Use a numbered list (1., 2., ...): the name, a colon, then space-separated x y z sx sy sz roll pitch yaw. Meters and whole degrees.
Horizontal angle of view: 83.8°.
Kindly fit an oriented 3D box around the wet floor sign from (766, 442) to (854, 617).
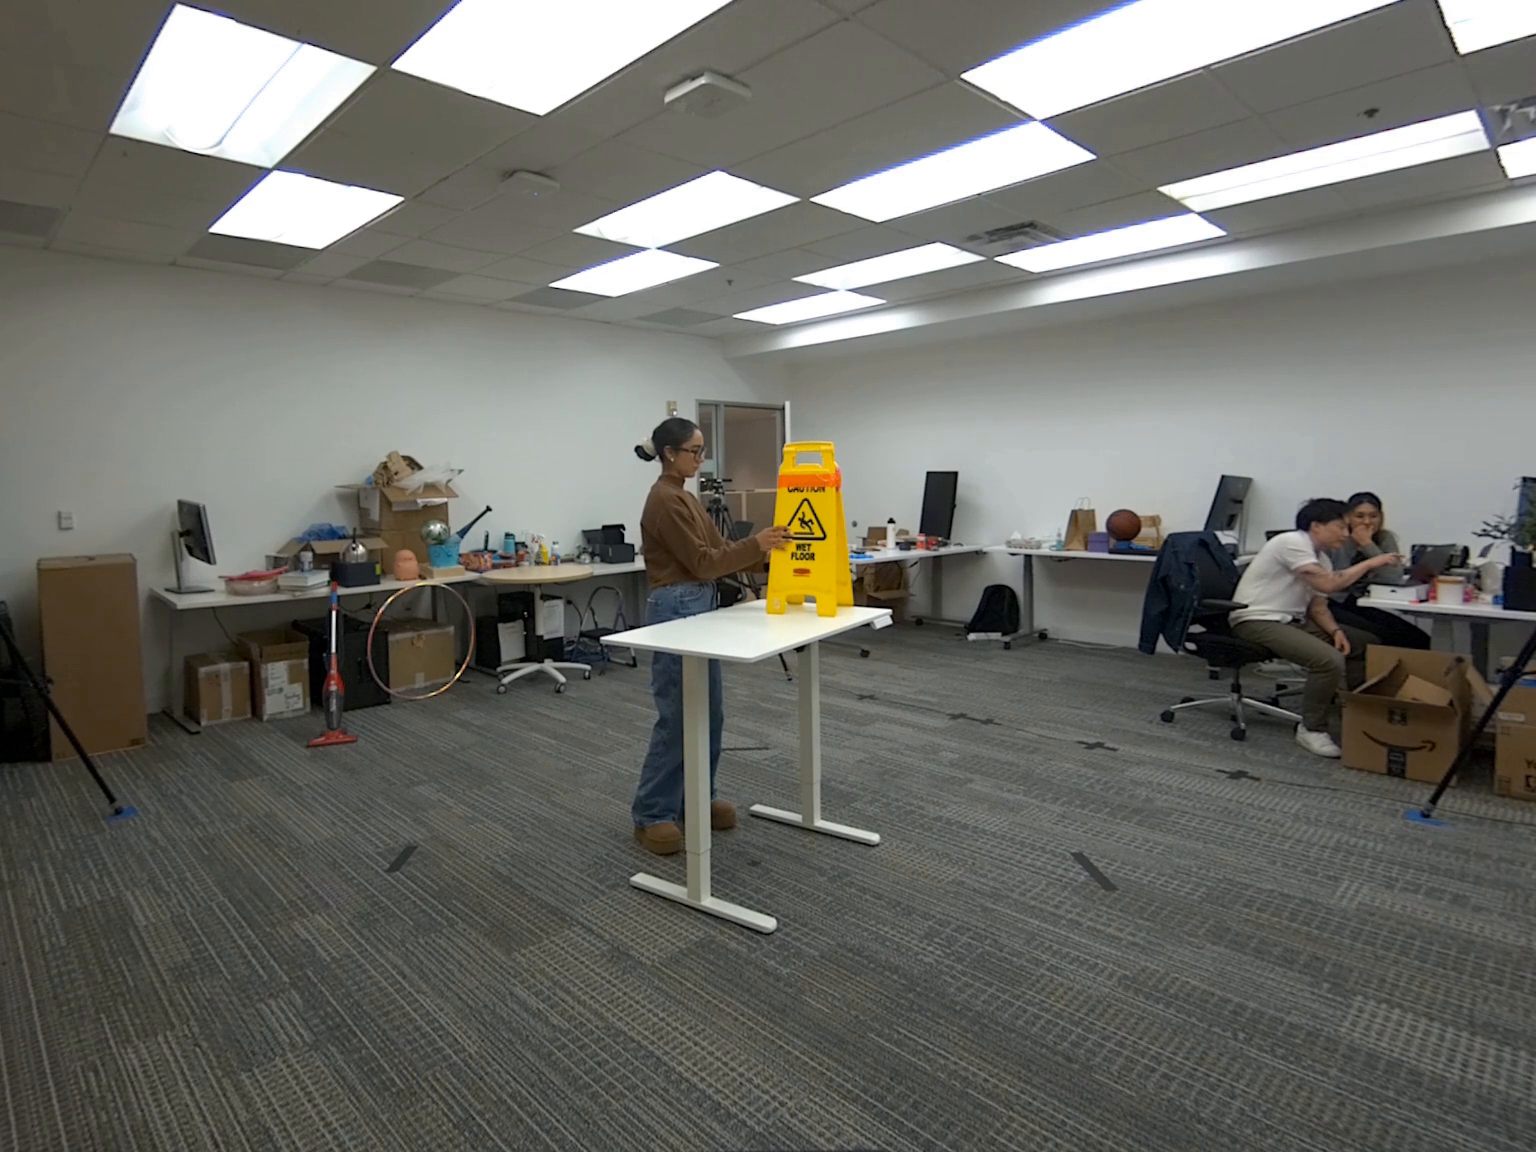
1. wet floor sign: 0.164 -0.189 3.308 0.288 0.644 0.285 2 5 22
